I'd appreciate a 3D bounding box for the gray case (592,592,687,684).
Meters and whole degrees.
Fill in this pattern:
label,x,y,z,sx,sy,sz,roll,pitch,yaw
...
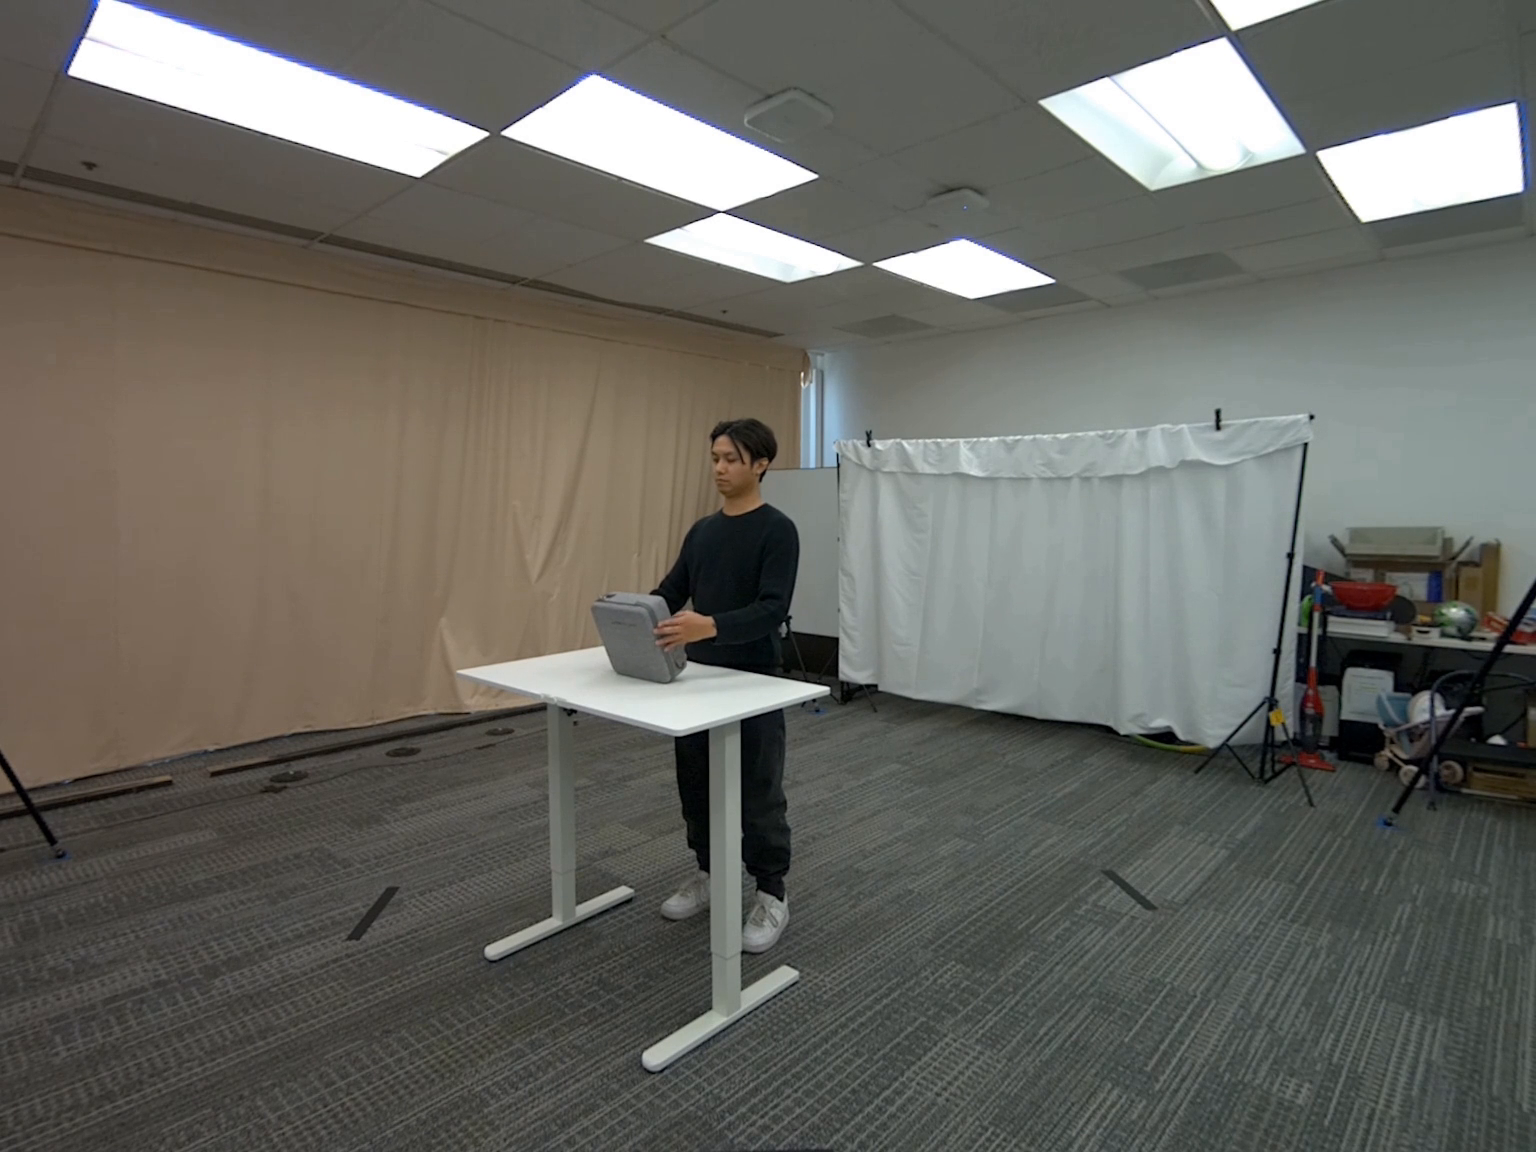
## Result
label,x,y,z,sx,sy,sz,roll,pitch,yaw
gray case,-0.374,0.179,2.486,0.265,0.256,0.103,5,29,39
